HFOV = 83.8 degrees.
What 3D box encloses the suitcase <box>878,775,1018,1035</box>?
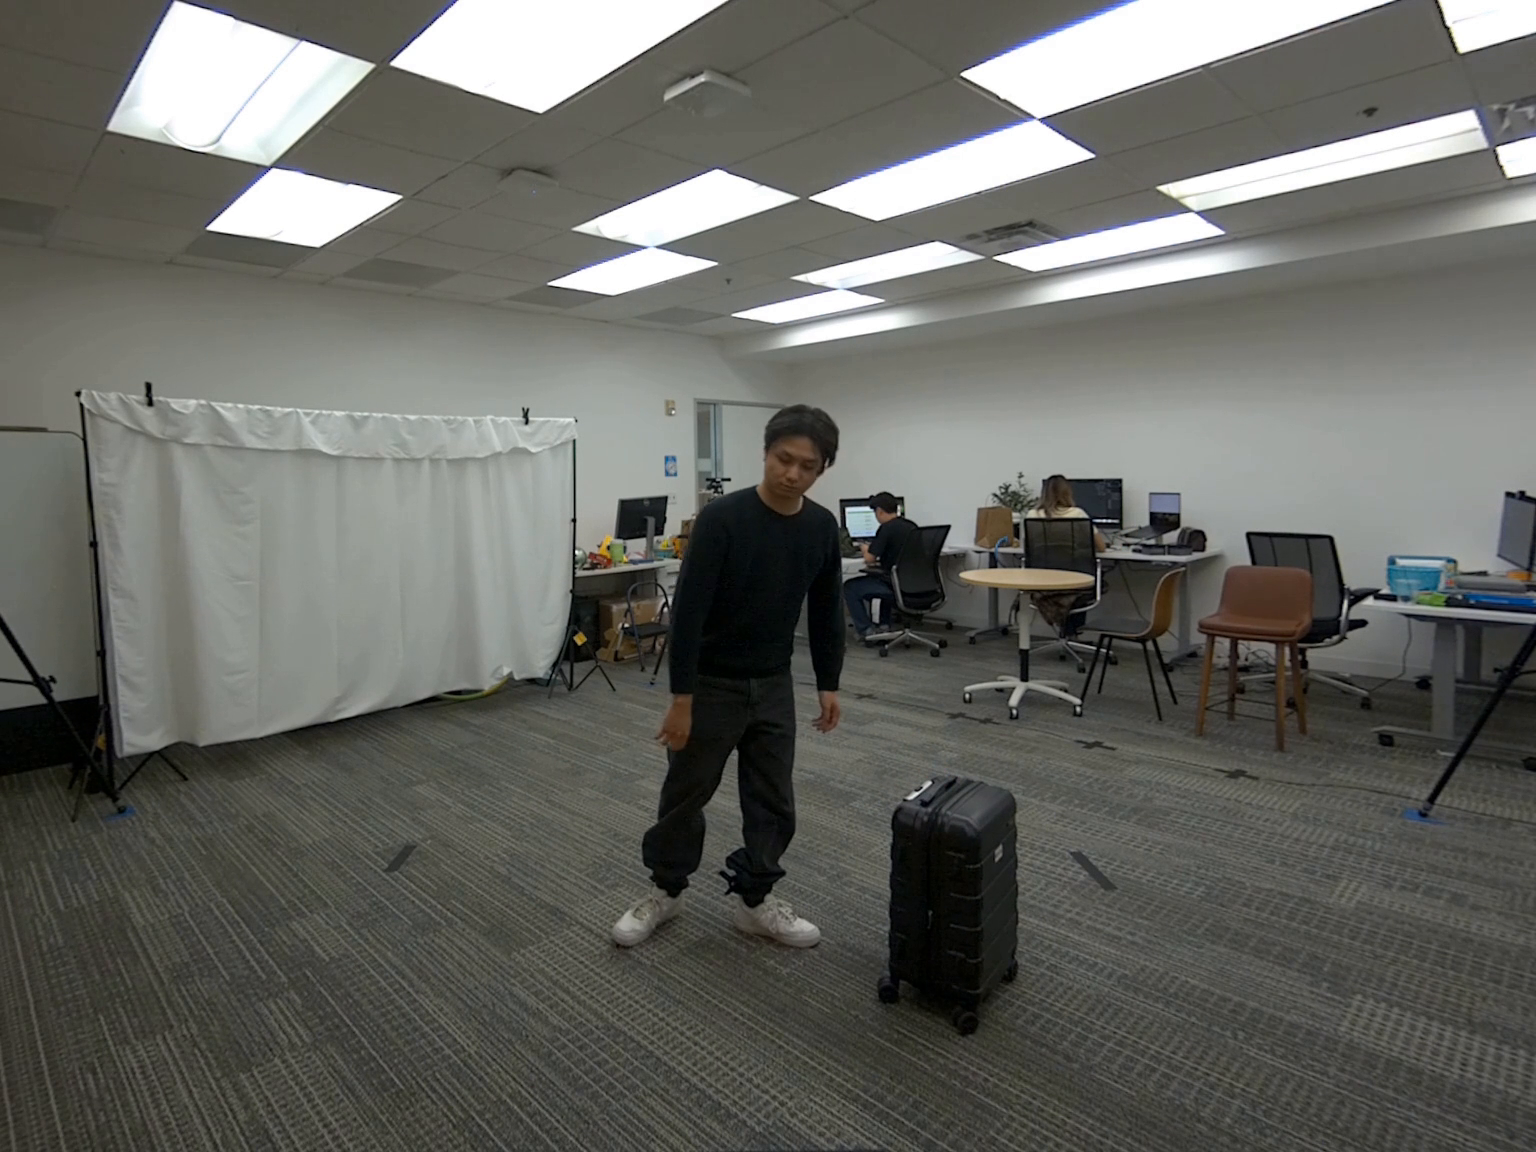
[{"bbox_3d":[0.509,0.848,2.319,0.255,0.547,0.366,3,5,36],"label":"suitcase"}]
